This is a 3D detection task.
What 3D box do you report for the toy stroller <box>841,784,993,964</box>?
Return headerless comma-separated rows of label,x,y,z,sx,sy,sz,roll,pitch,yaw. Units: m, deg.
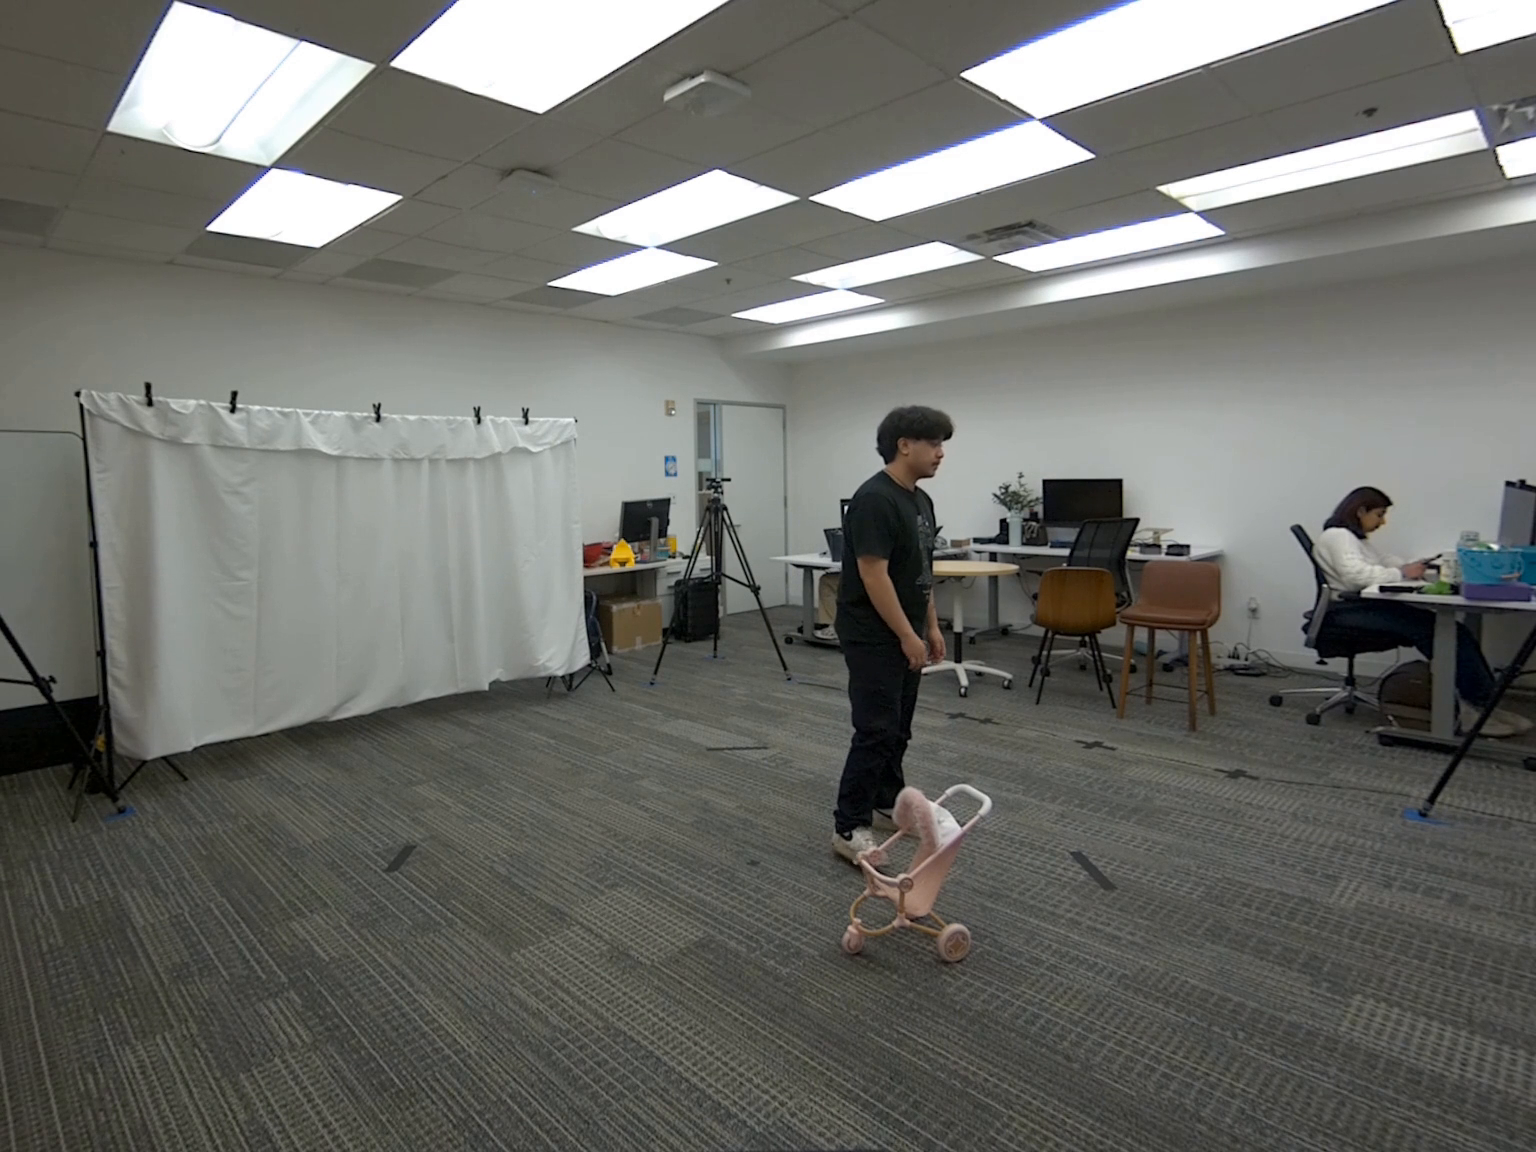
toy stroller,0.422,0.874,2.542,0.336,0.535,0.286,13,1,-14
